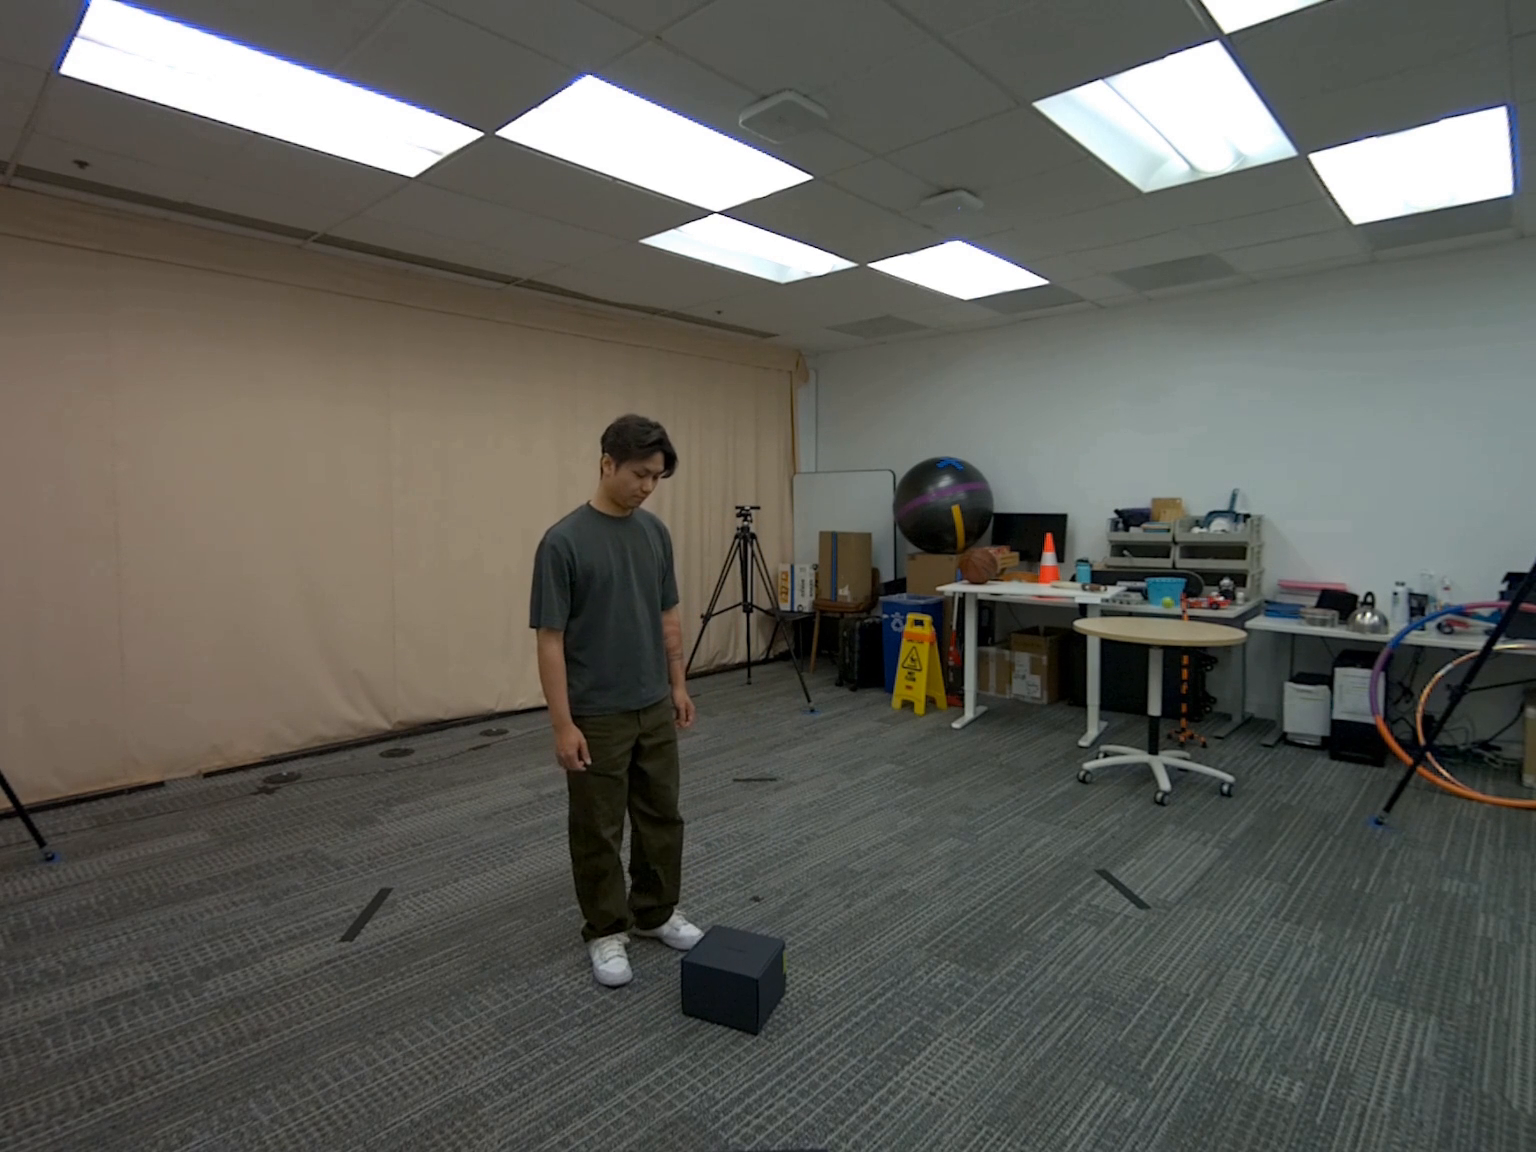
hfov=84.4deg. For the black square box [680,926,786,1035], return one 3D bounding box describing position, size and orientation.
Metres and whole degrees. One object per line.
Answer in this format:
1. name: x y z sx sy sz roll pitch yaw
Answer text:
1. black square box: -0.088 1.113 2.347 0.233 0.155 0.212 1 4 23
